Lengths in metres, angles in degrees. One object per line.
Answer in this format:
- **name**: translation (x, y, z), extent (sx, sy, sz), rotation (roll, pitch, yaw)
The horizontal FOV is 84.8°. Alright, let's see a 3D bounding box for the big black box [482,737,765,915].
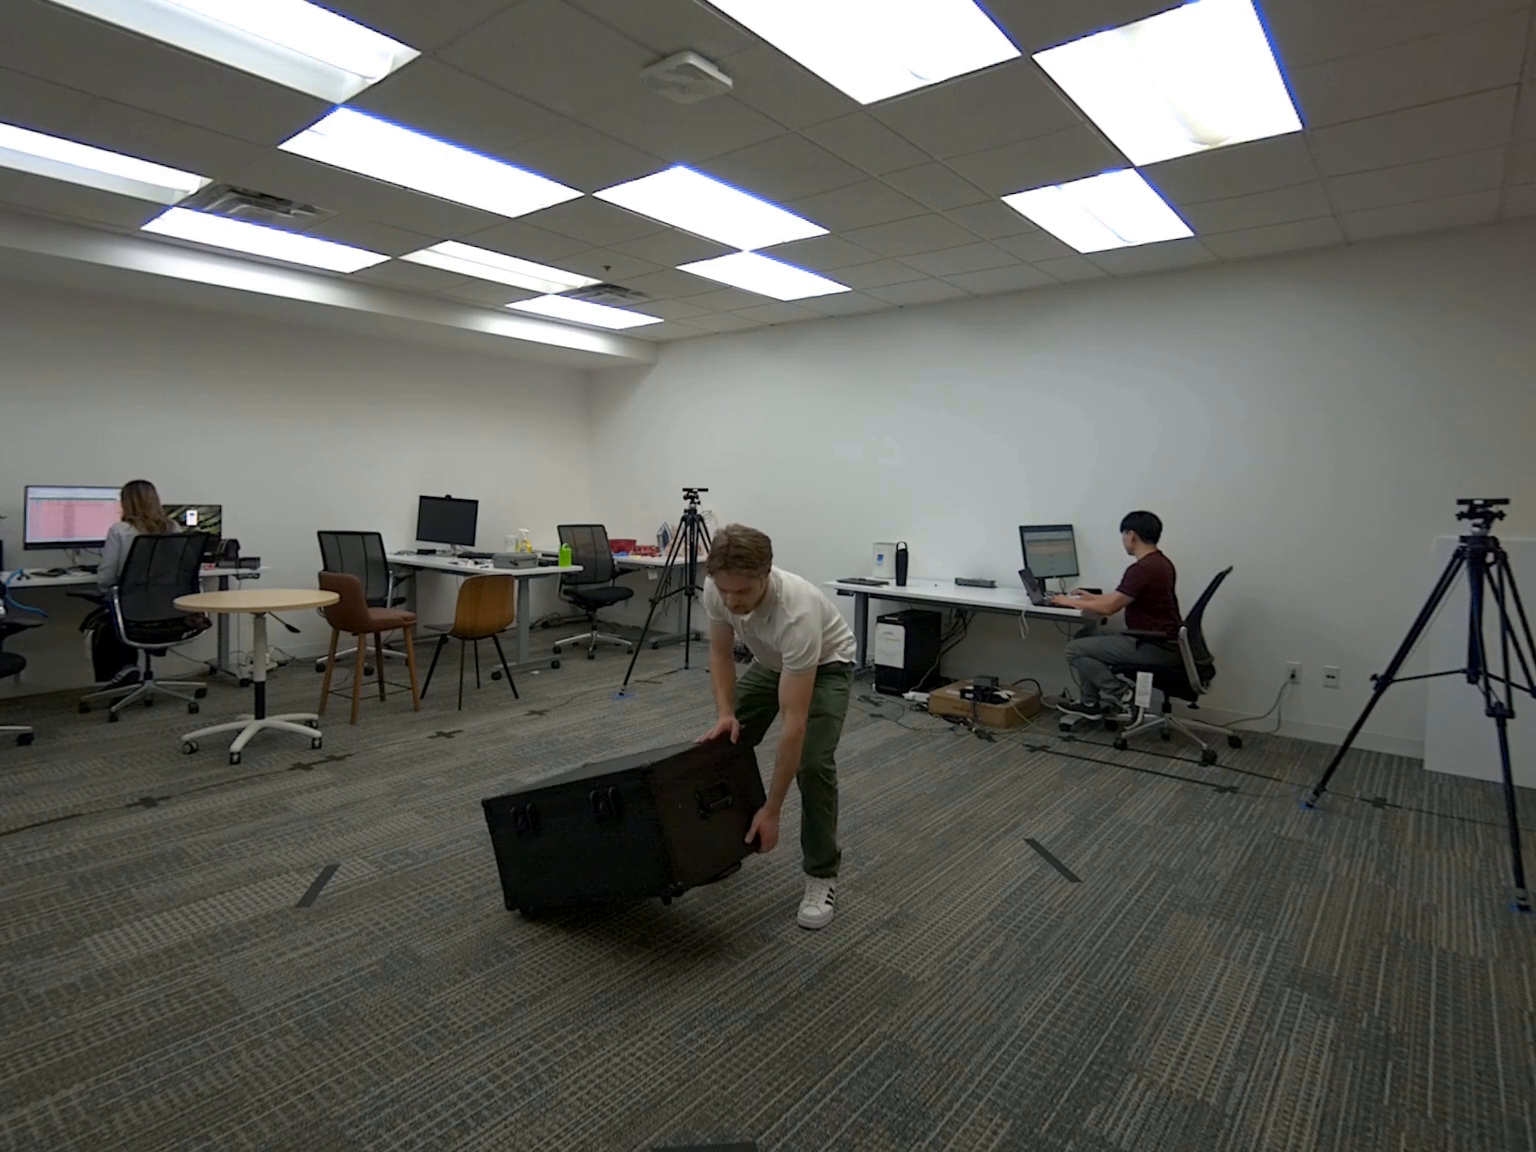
- **big black box**: translation (-0.494, 0.791, 2.744), extent (0.884, 0.389, 0.509), rotation (-21, -8, 36)
